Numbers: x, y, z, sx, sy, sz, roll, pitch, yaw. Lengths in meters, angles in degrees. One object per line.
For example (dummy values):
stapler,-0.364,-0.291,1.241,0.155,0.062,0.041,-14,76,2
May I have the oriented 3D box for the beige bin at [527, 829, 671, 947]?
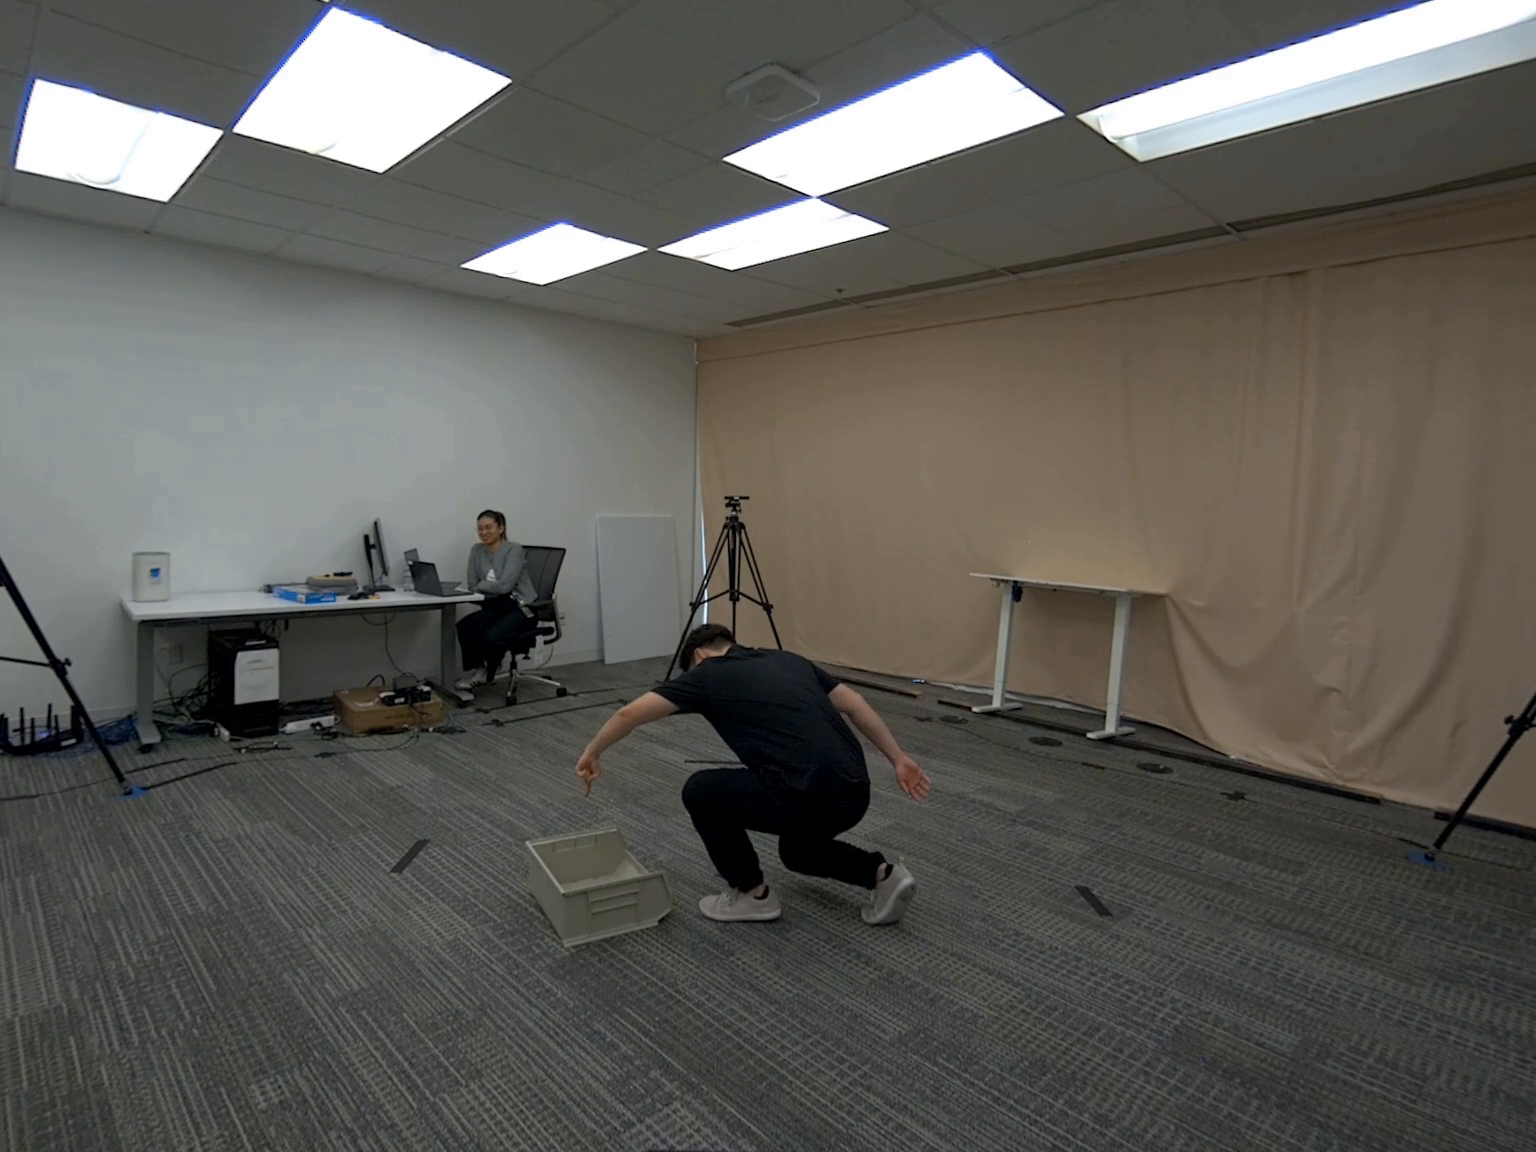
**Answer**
beige bin,-0.577,1.027,2.838,0.370,0.188,0.432,-2,7,-30
